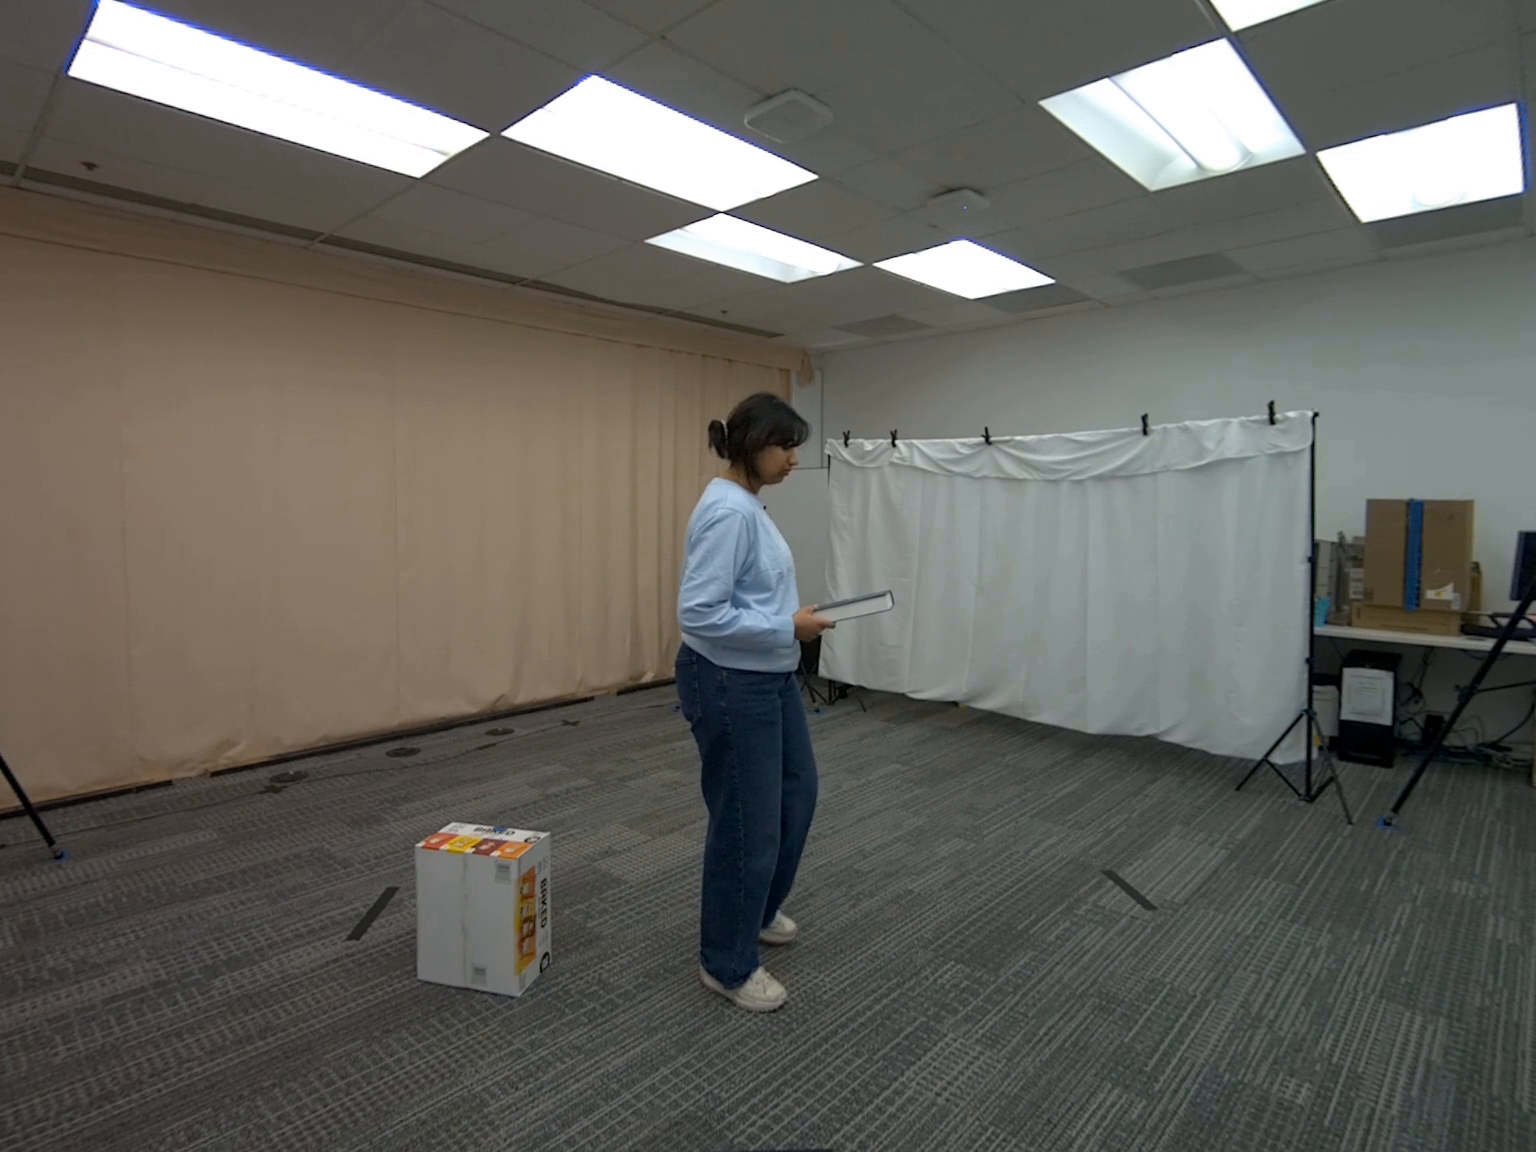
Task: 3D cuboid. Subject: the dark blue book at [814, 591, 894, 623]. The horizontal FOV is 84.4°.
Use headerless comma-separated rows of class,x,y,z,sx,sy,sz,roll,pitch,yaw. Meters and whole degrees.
dark blue book,0.222,0.088,2.298,0.247,0.045,0.162,-13,0,9
